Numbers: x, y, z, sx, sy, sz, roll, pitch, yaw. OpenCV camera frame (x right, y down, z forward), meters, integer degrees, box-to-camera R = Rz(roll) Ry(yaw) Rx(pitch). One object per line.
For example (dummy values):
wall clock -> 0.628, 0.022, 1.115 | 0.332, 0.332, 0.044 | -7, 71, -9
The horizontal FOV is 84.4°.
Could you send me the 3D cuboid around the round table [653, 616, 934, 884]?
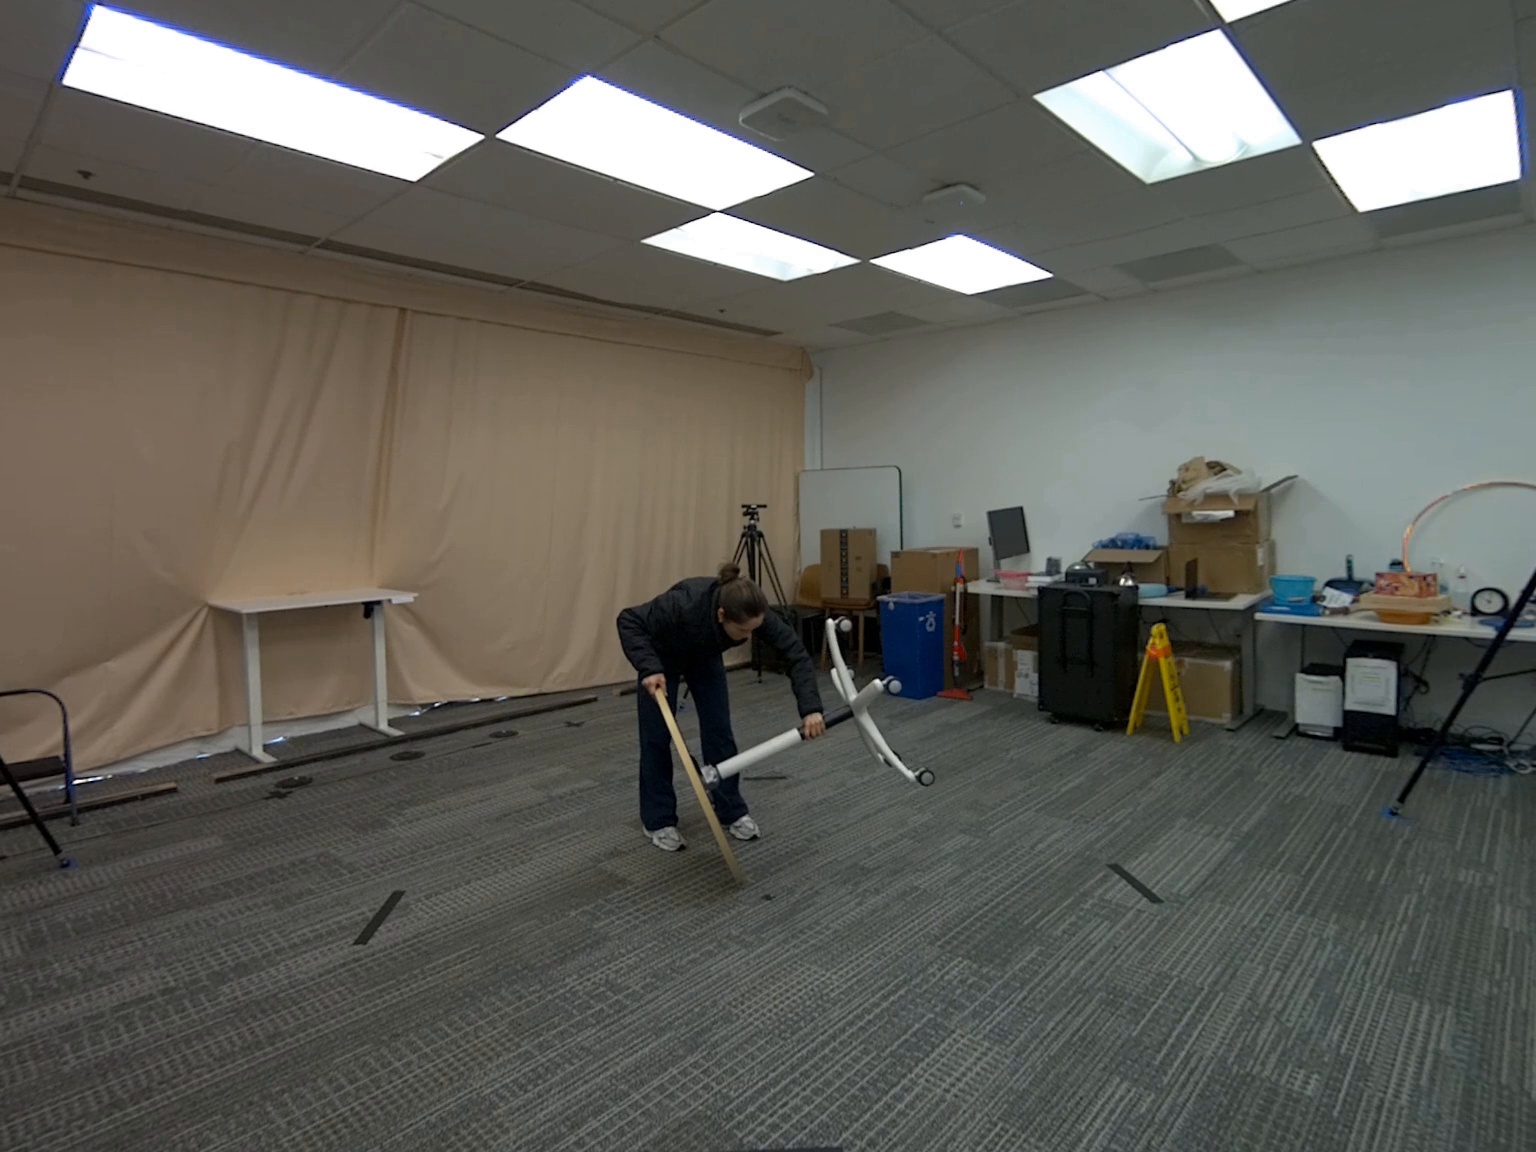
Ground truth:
round table -> 0.108, 0.626, 3.193 | 0.782, 0.780, 0.794 | -23, 7, -7
